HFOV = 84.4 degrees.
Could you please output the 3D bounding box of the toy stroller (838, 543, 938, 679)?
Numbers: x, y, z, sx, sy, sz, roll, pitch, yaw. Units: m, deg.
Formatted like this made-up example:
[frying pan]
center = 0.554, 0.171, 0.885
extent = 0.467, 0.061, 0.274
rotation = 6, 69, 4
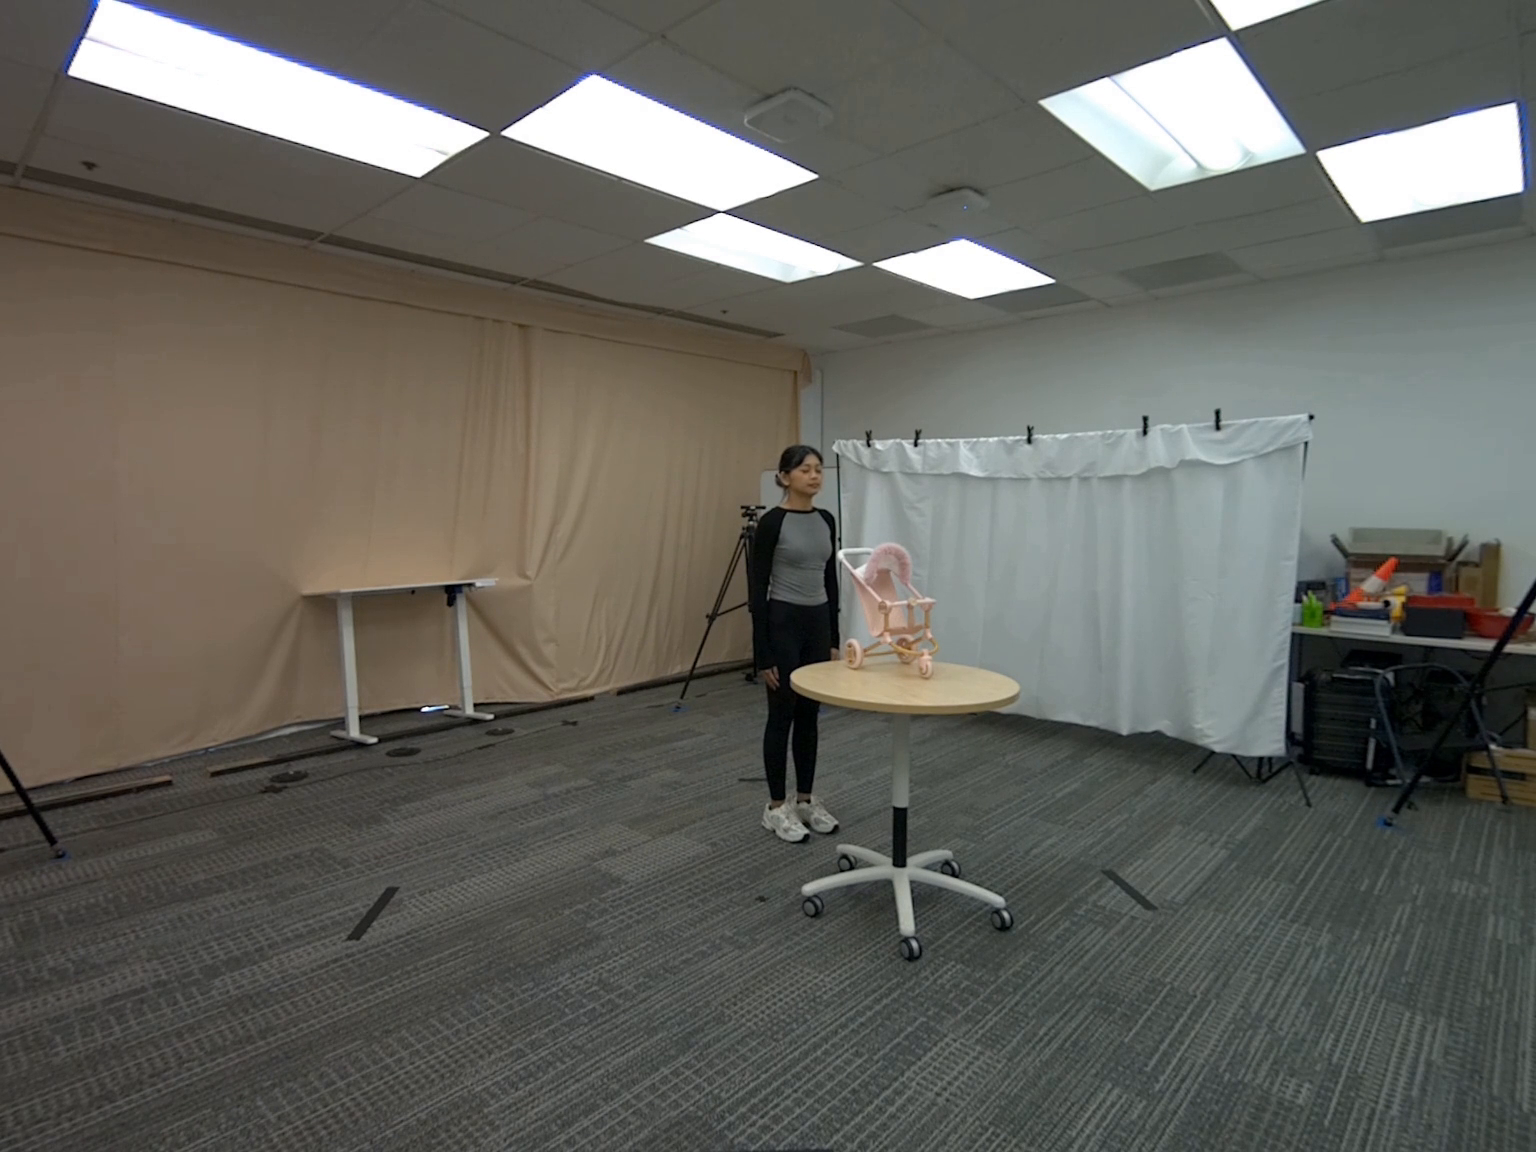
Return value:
[toy stroller]
center = 0.452, 0.117, 3.073
extent = 0.275, 0.539, 0.347
rotation = -2, -12, -26
